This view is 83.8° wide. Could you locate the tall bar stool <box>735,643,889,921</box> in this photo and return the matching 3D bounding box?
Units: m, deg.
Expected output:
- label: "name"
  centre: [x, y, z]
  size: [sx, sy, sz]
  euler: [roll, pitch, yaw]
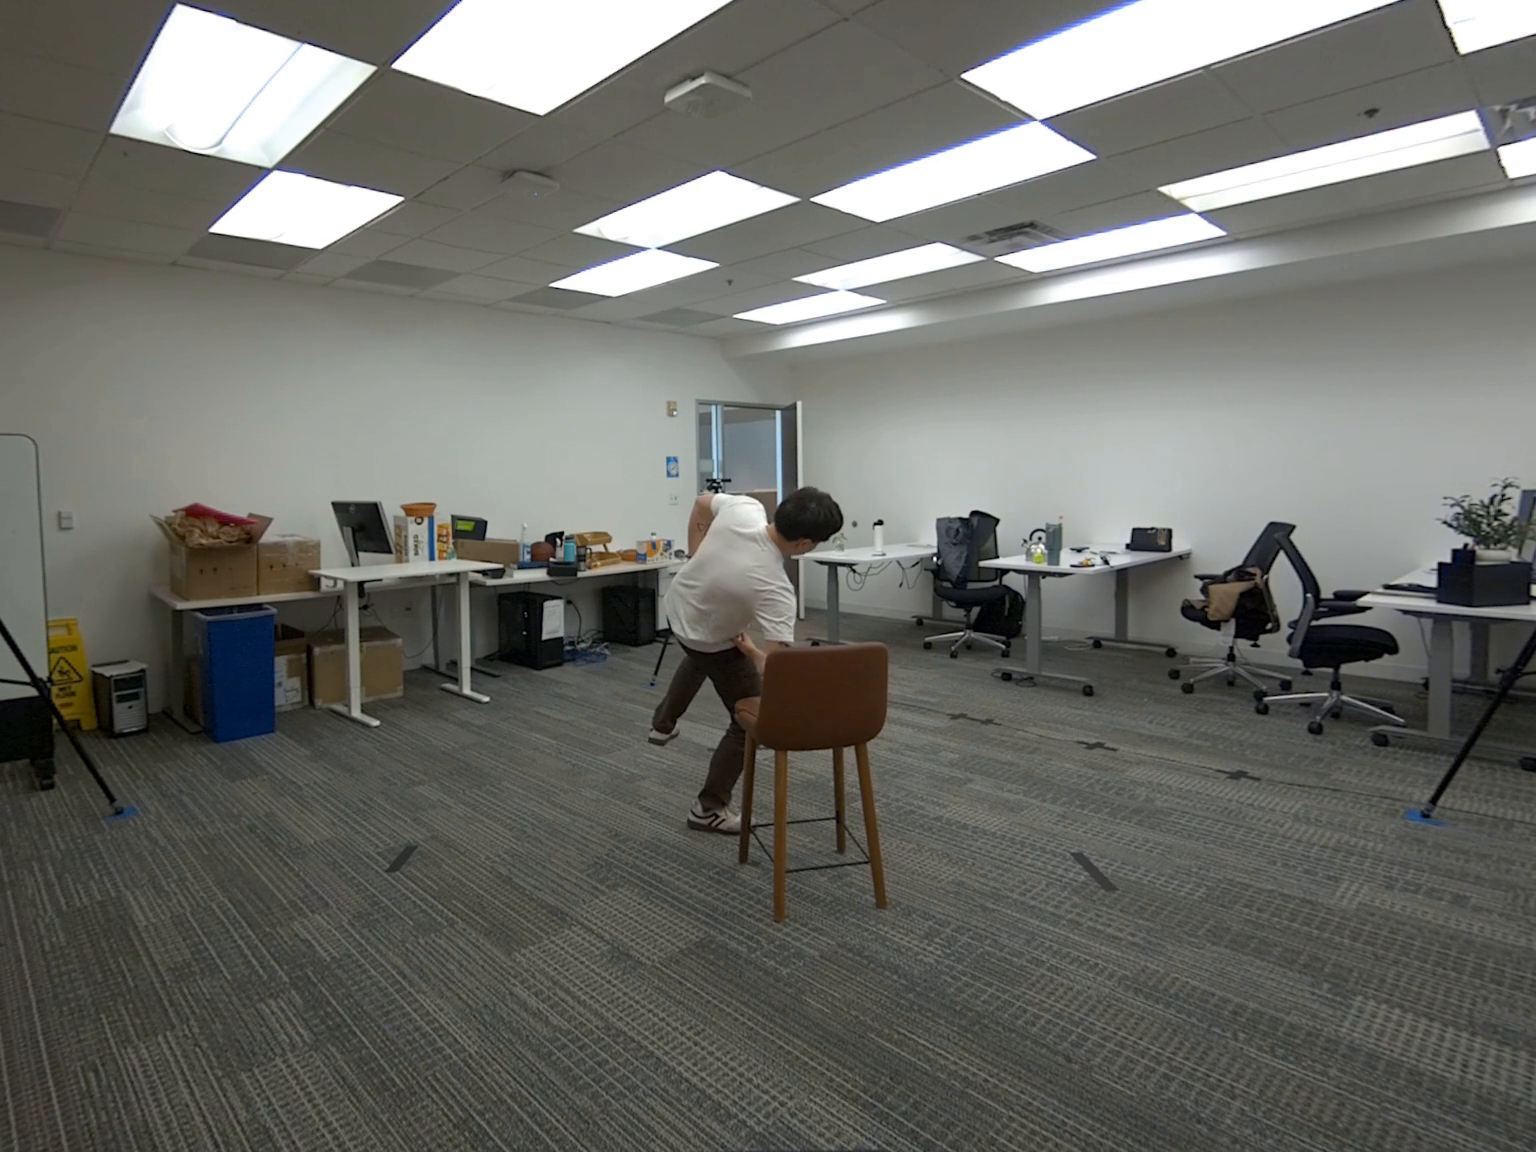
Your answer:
- label: "tall bar stool"
  centre: [0.144, 0.623, 2.919]
  size: [0.451, 0.885, 0.476]
  euler: [-2, 5, -14]
